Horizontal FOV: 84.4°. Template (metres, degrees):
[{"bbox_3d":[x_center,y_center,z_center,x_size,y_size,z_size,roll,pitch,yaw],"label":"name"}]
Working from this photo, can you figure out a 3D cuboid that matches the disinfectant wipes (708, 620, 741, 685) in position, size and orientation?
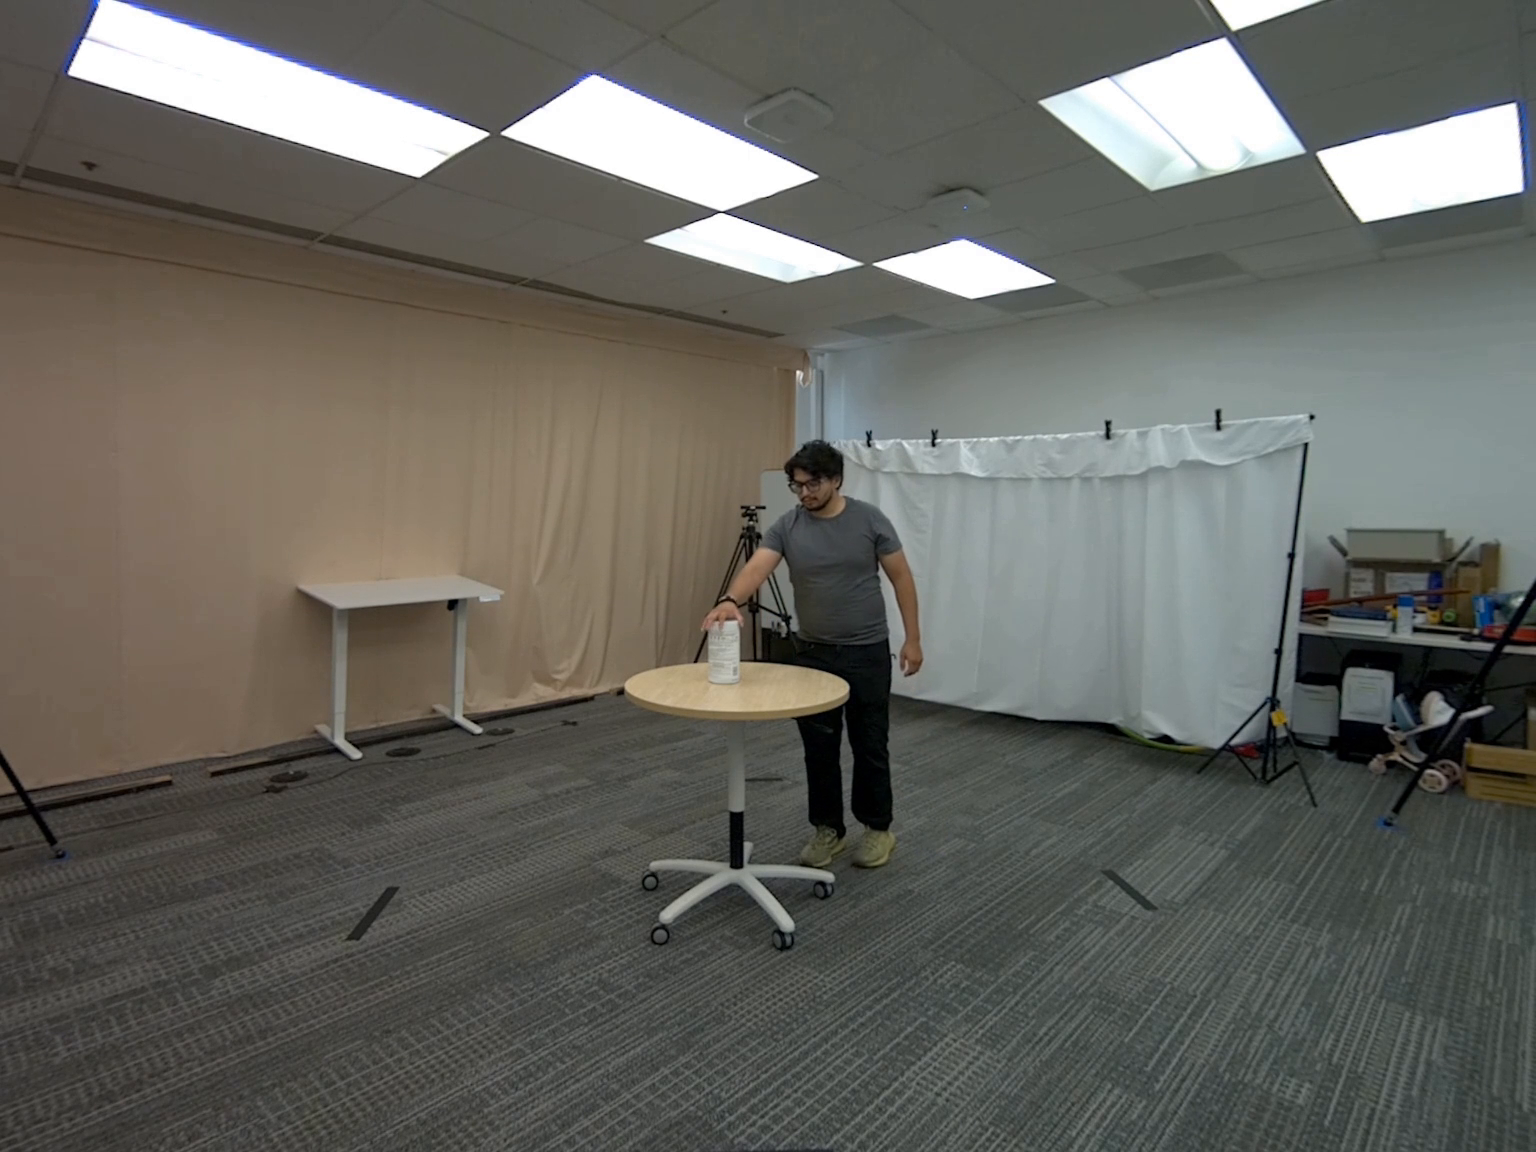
[{"bbox_3d":[-0.147,0.261,2.913,0.117,0.217,0.118,2,2,-2],"label":"disinfectant wipes"}]
